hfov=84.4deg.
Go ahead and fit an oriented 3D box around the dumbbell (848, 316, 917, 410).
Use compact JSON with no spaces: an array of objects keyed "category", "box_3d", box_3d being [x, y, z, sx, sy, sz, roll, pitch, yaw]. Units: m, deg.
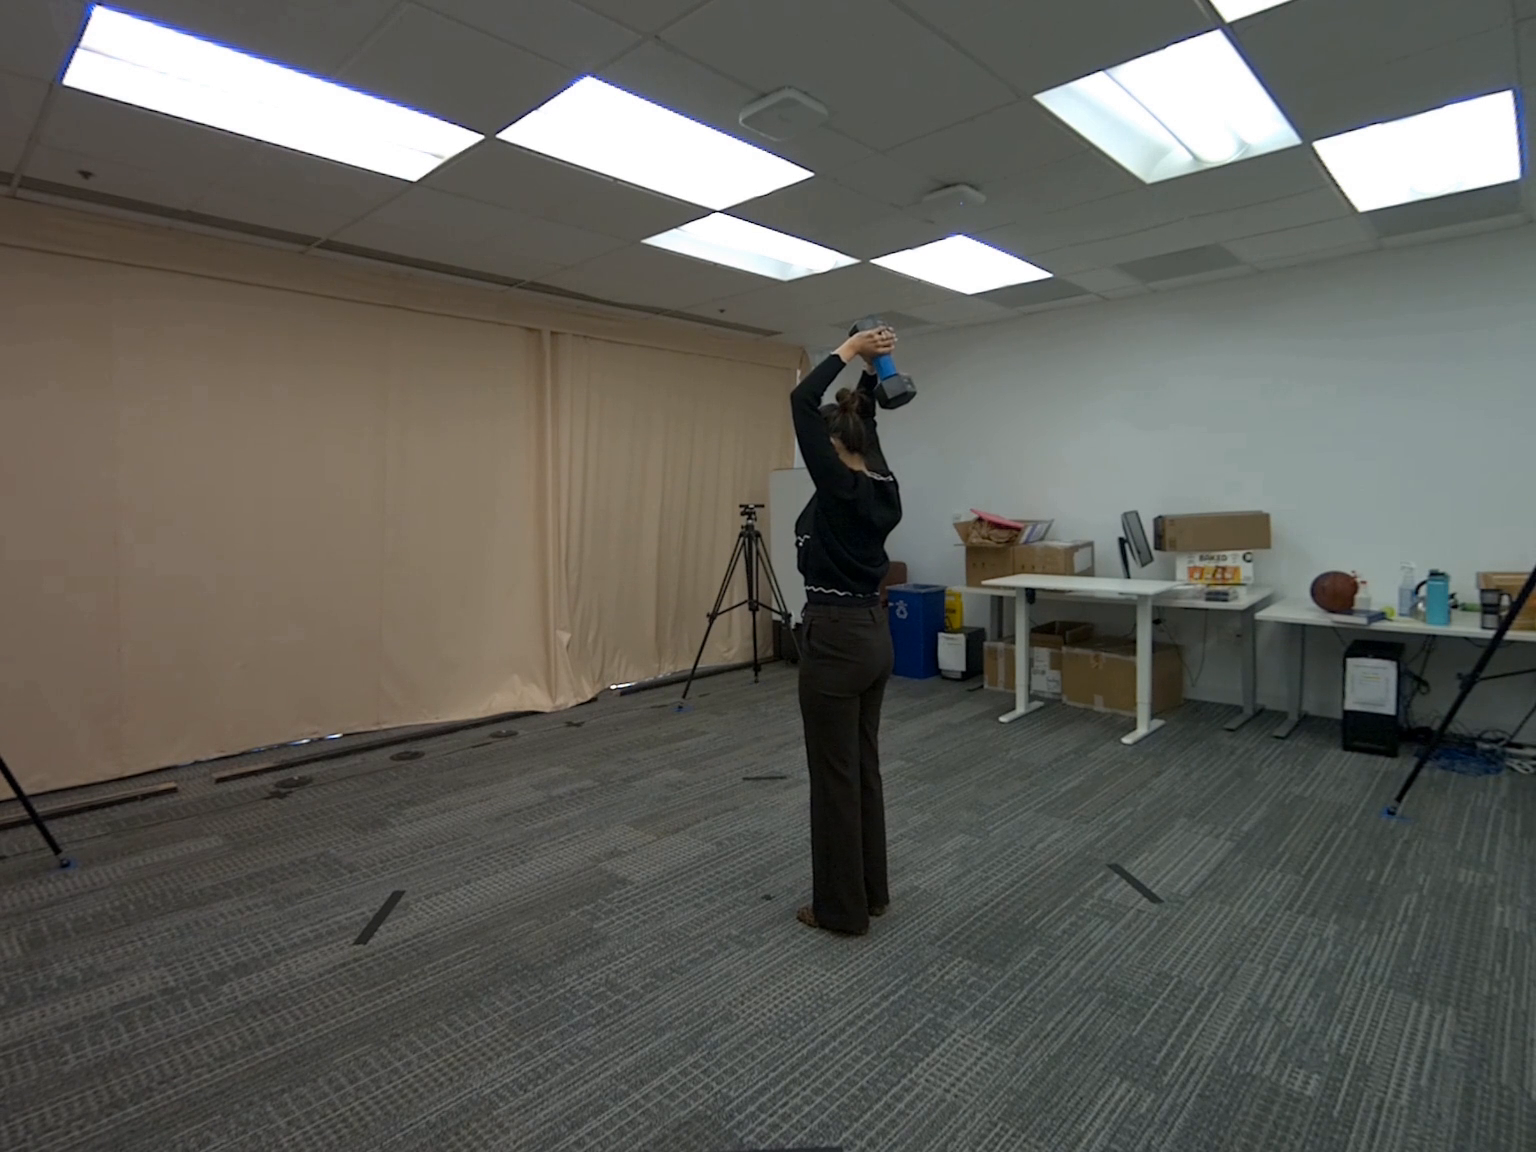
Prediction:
[{"category":"dumbbell","box_3d":[0.365,-0.673,2.661,0.124,0.297,0.106,-22,-14,11]}]
